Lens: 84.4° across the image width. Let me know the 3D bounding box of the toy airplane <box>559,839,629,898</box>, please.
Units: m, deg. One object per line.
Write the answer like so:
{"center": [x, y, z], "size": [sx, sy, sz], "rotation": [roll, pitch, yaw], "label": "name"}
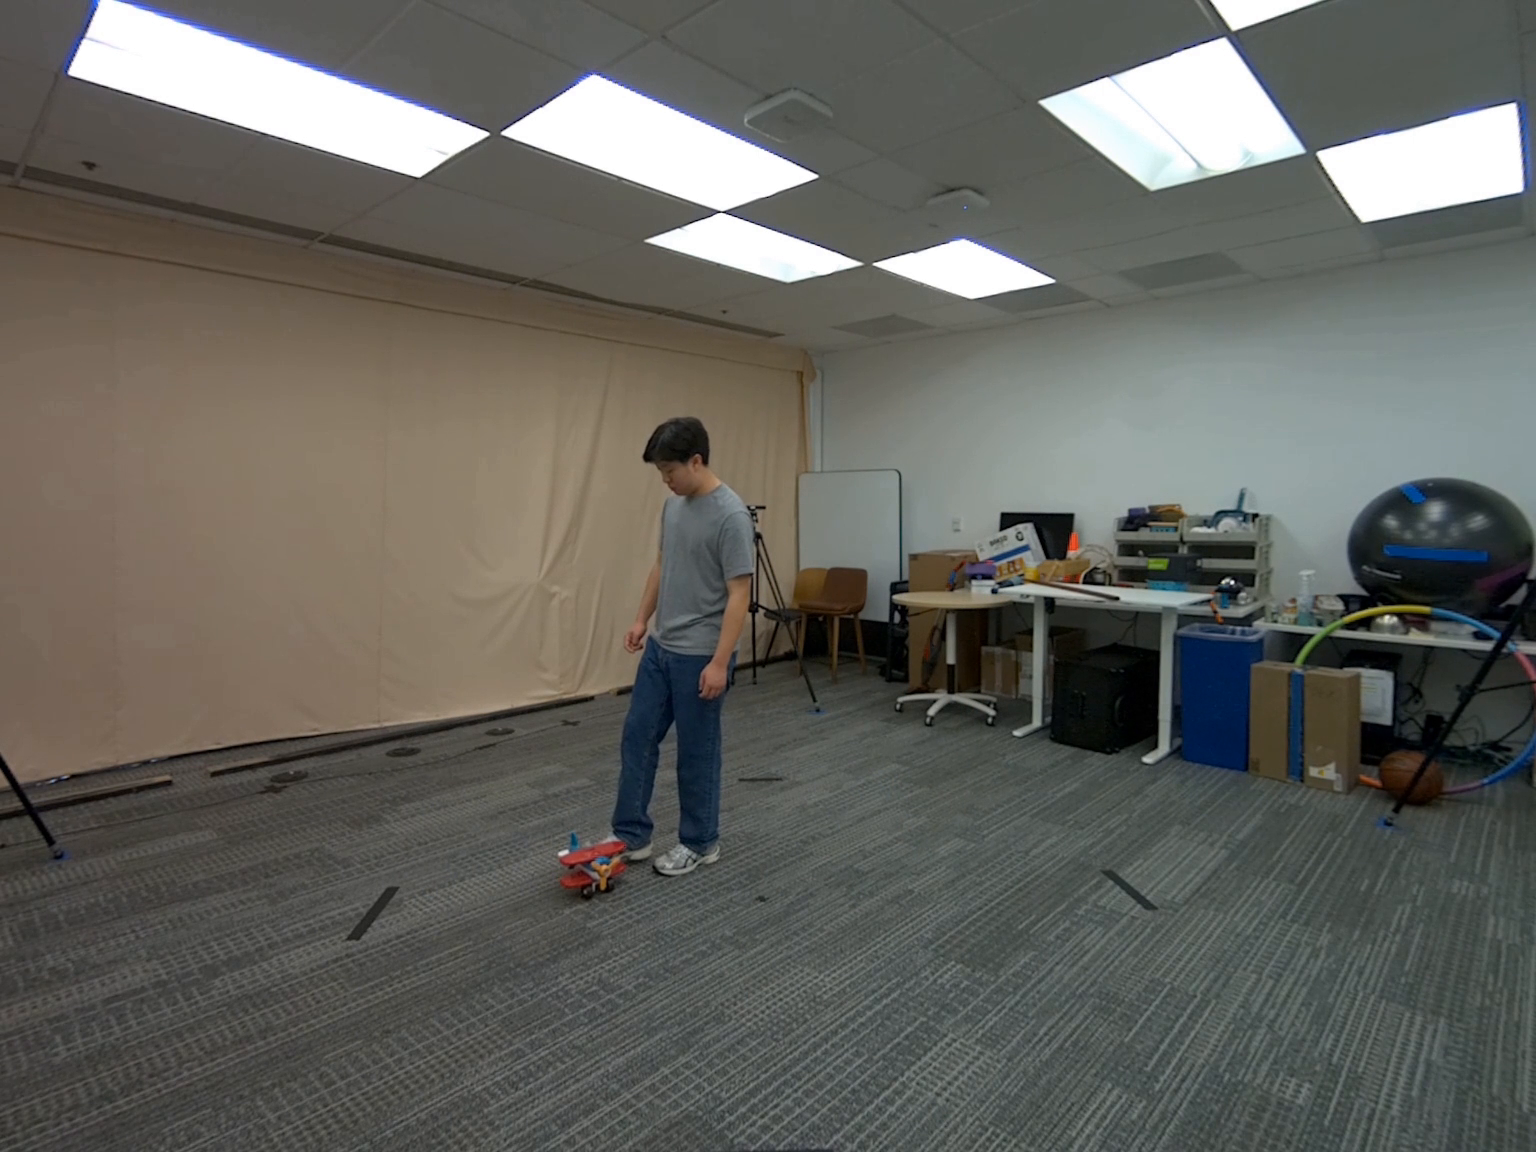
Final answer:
{"center": [-0.672, 1.049, 3.058], "size": [0.265, 0.155, 0.247], "rotation": [15, 15, 20], "label": "toy airplane"}
